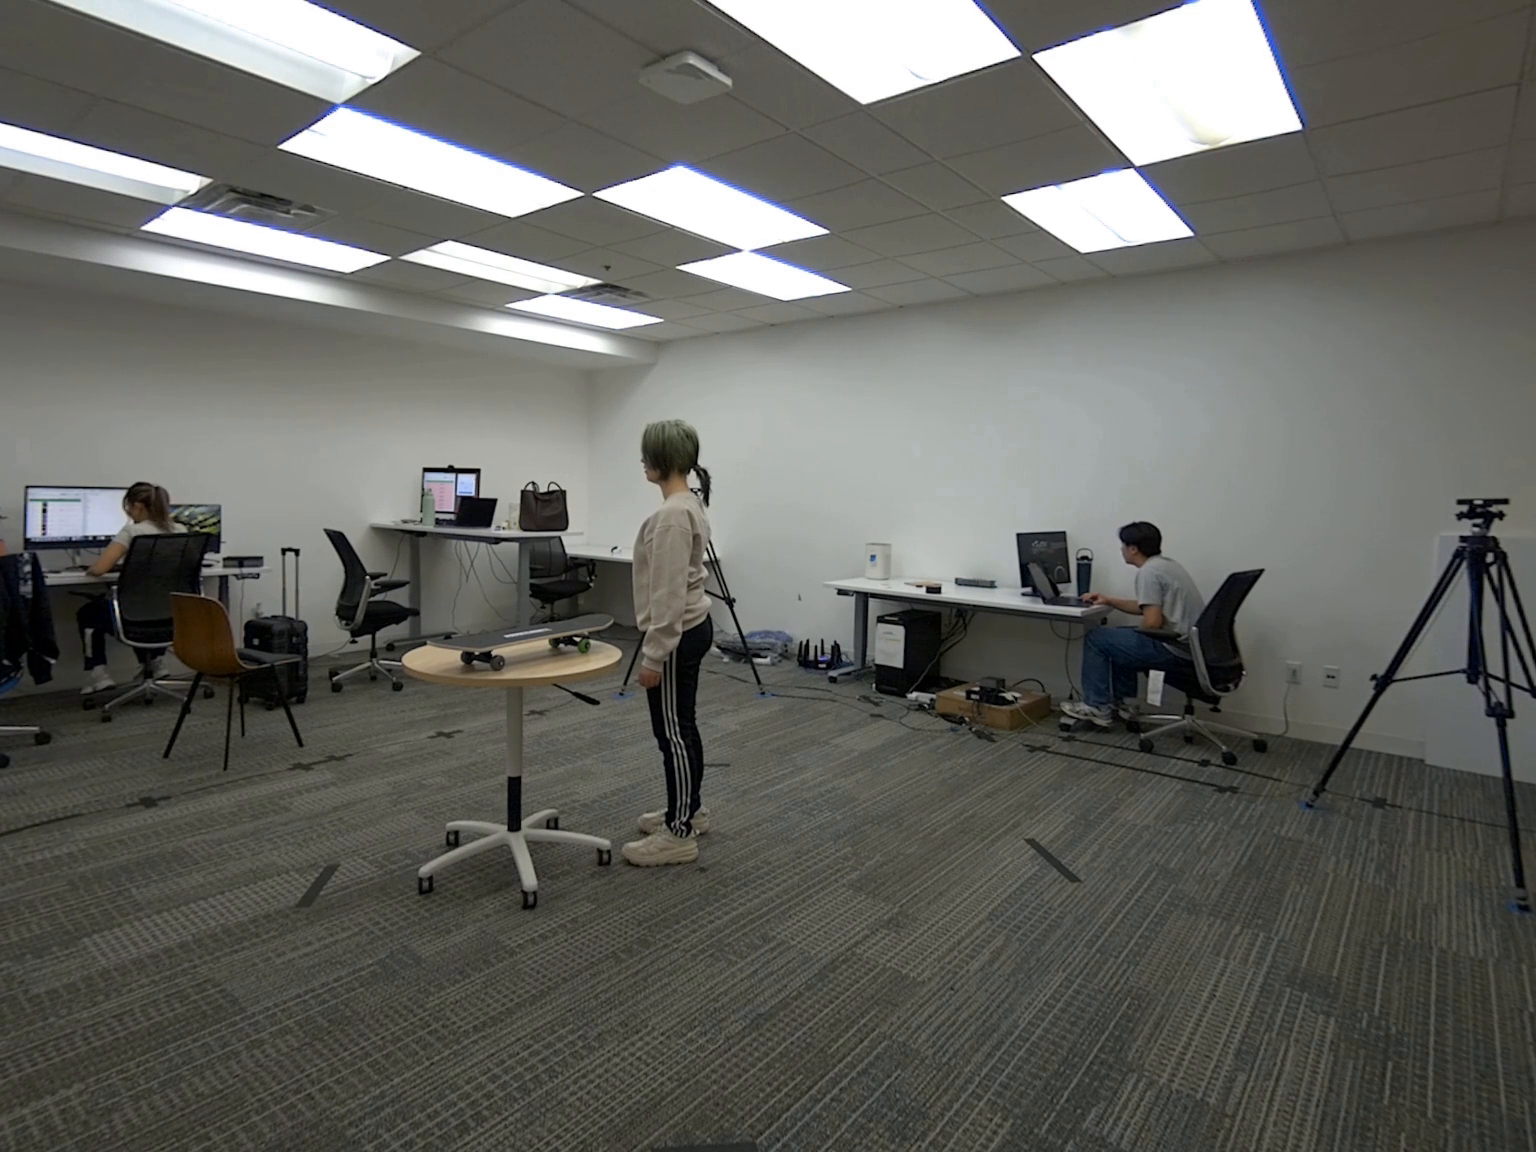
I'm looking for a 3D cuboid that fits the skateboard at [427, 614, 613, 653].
[{"bbox_3d":[-0.863,0.236,3.006,0.200,0.110,0.764,8,9,34],"label":"skateboard"}]
